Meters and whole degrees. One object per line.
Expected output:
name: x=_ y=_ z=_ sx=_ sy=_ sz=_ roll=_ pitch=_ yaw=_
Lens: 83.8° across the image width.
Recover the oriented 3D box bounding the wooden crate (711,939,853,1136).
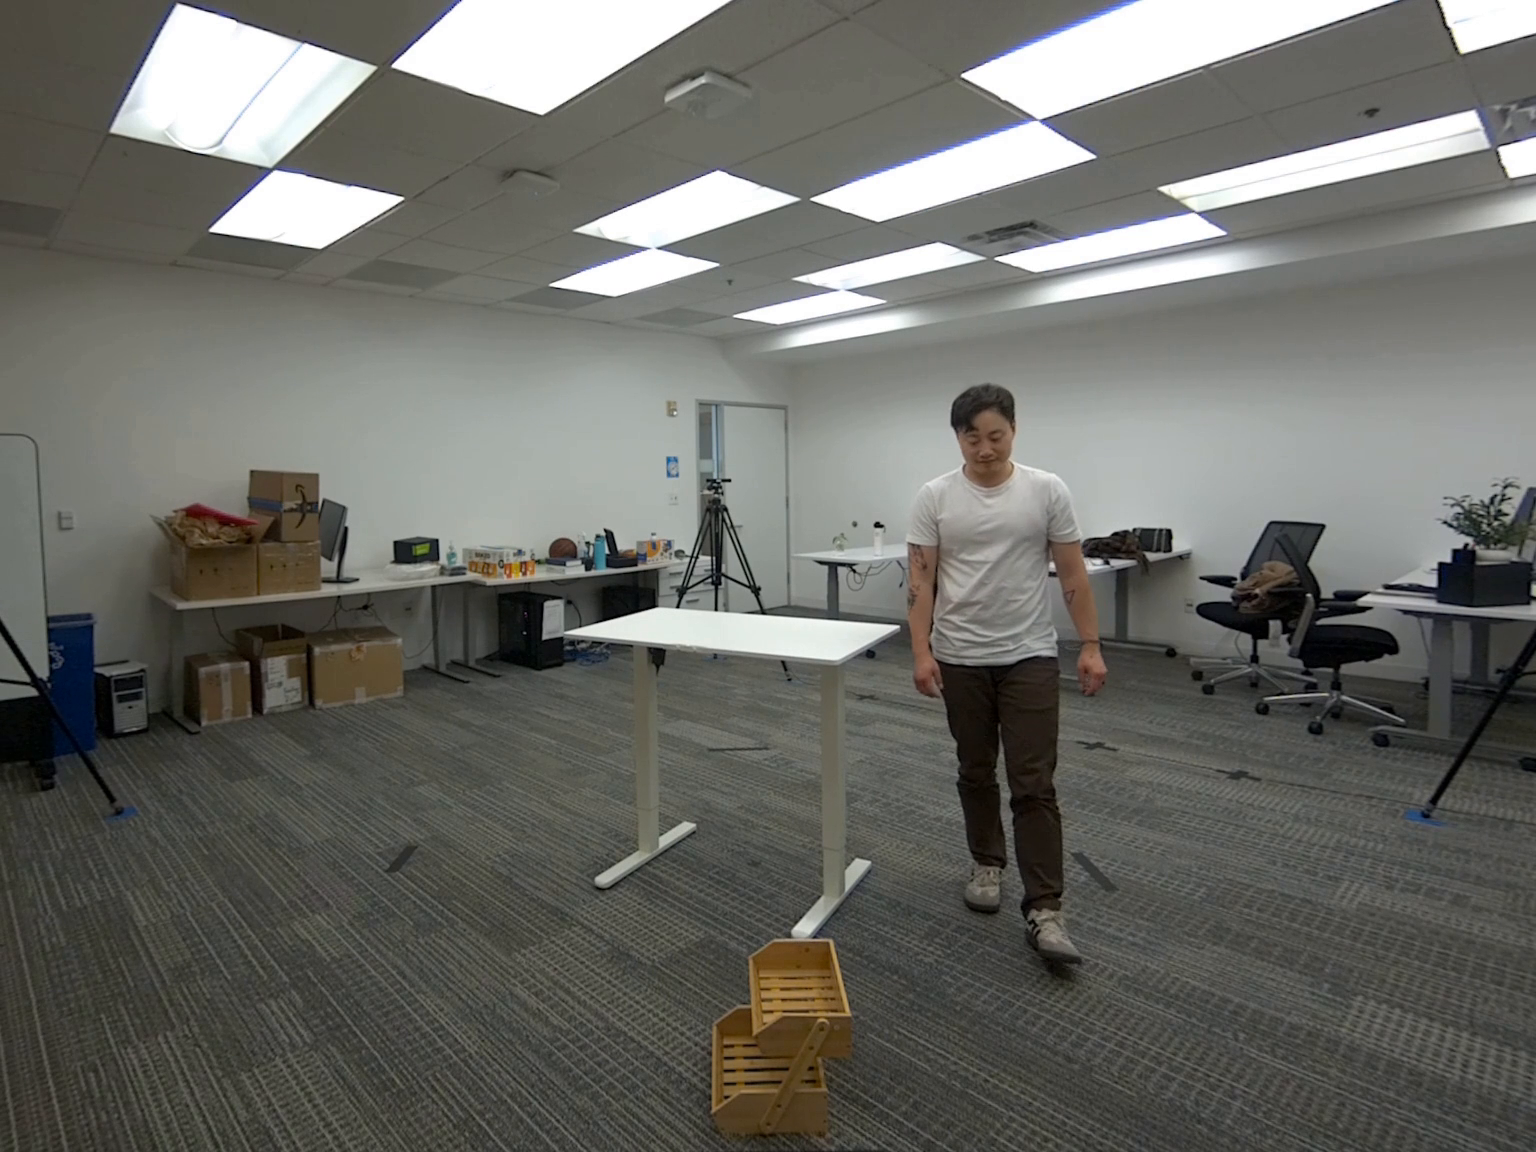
wooden crate: x=0.023 y=1.047 z=1.960 sx=0.301 sy=0.272 sz=0.327 roll=-1 pitch=5 yaw=-3
